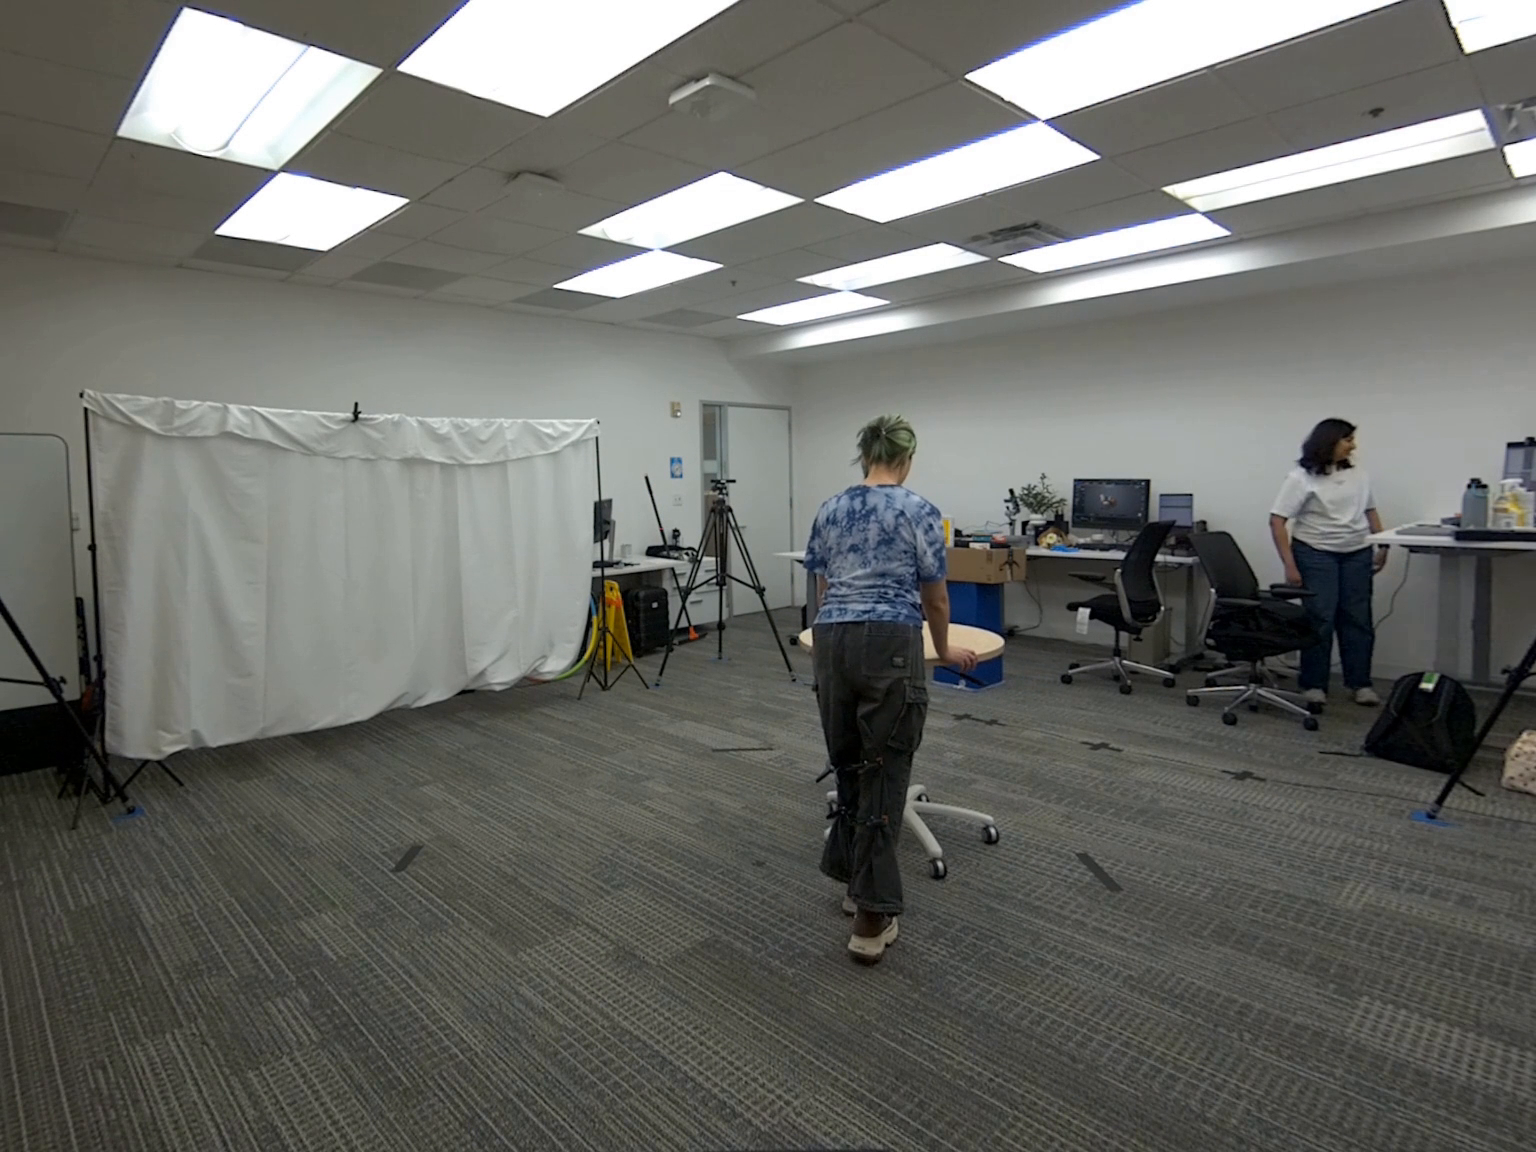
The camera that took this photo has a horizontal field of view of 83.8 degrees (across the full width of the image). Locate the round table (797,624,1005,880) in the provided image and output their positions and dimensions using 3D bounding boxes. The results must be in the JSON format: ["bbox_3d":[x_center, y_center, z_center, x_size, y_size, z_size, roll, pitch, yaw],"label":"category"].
[{"bbox_3d":[0.520,0.629,3.302,0.763,0.791,0.768,-1,5,-2],"label":"round table"}]
